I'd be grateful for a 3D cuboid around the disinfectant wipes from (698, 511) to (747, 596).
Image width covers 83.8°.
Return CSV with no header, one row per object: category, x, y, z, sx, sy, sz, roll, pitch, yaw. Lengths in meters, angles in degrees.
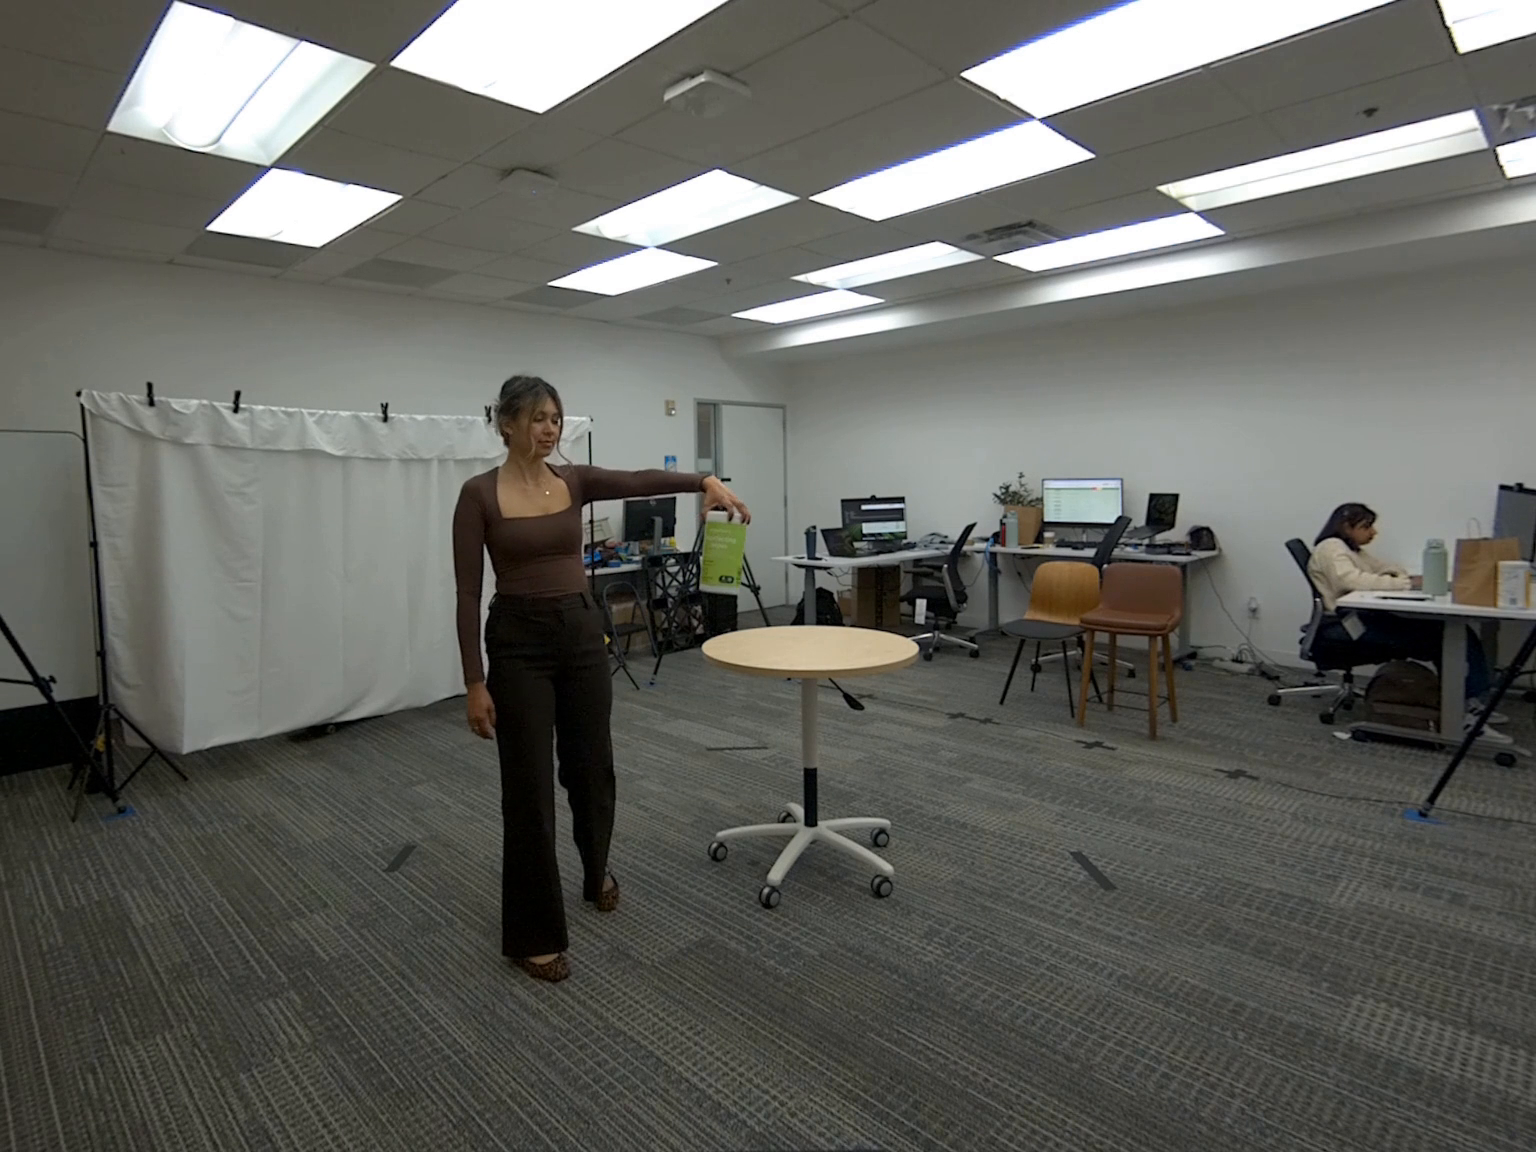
disinfectant wipes,-0.125,-0.058,2.284,0.117,0.217,0.118,3,3,-2
